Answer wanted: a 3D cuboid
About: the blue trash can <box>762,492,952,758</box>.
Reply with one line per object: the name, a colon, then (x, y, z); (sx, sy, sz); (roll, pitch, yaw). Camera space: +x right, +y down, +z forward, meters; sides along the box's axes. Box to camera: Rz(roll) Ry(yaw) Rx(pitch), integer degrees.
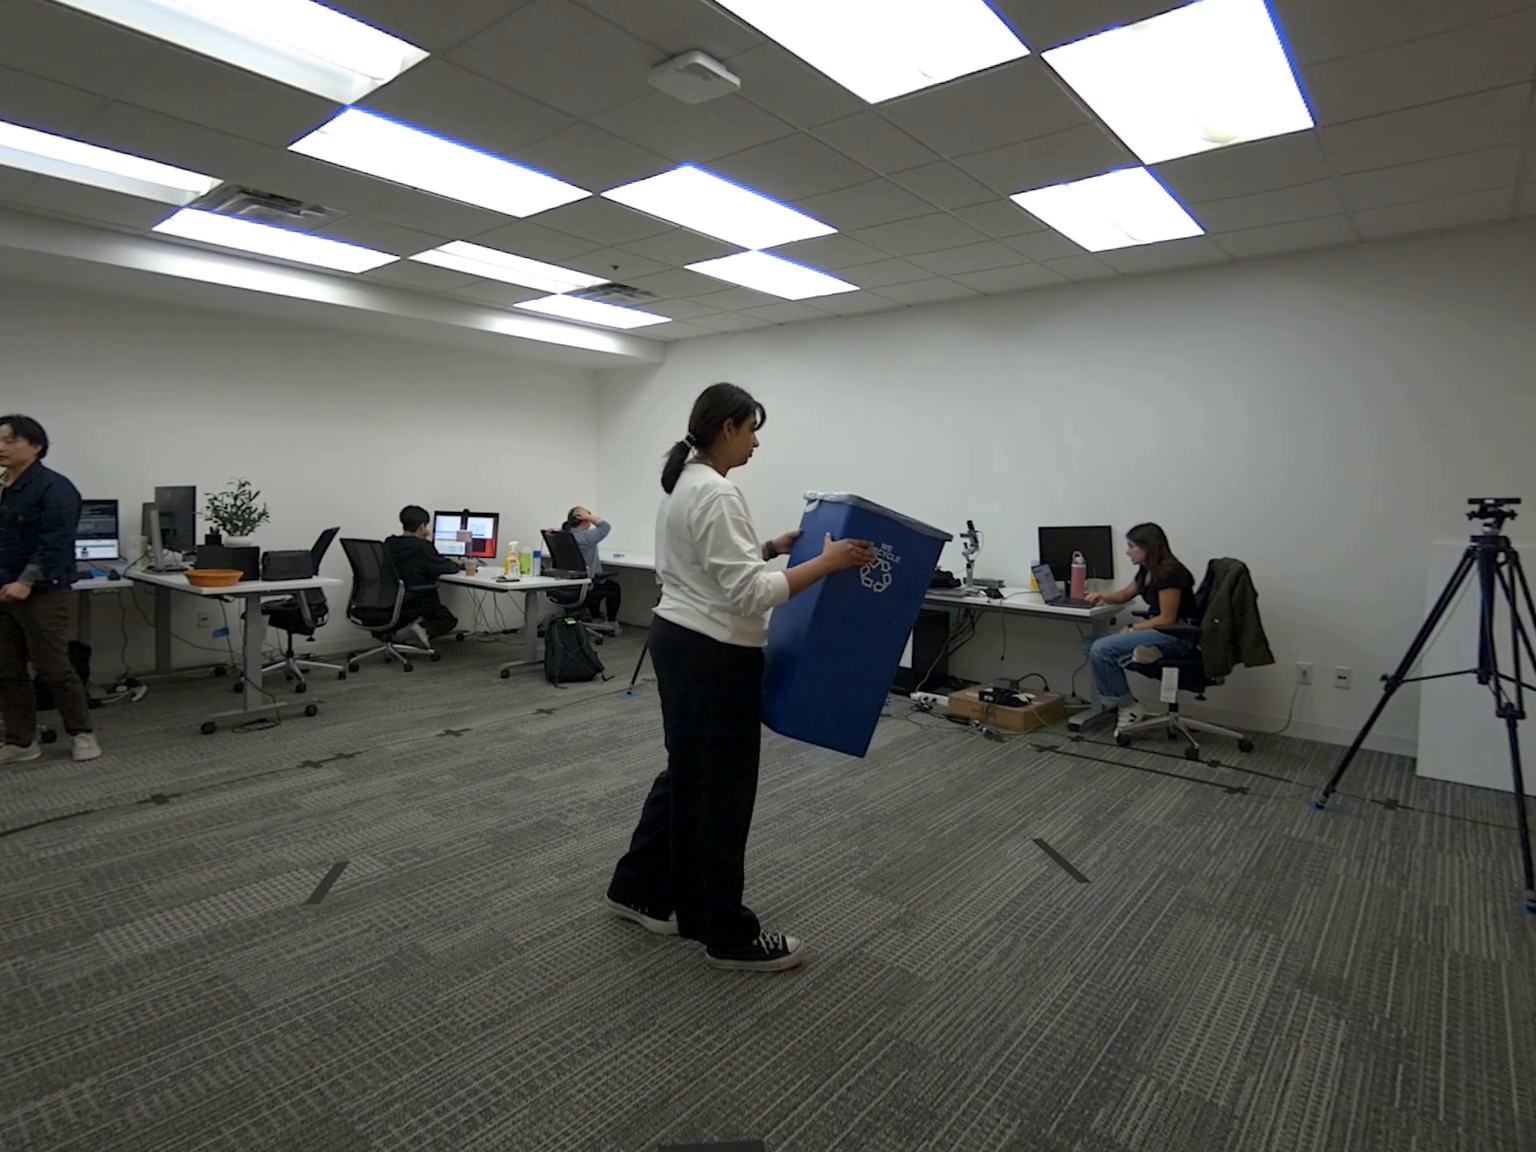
blue trash can: (0.215, 0.139, 2.603); (0.365, 0.714, 0.387); (19, -2, -20)
